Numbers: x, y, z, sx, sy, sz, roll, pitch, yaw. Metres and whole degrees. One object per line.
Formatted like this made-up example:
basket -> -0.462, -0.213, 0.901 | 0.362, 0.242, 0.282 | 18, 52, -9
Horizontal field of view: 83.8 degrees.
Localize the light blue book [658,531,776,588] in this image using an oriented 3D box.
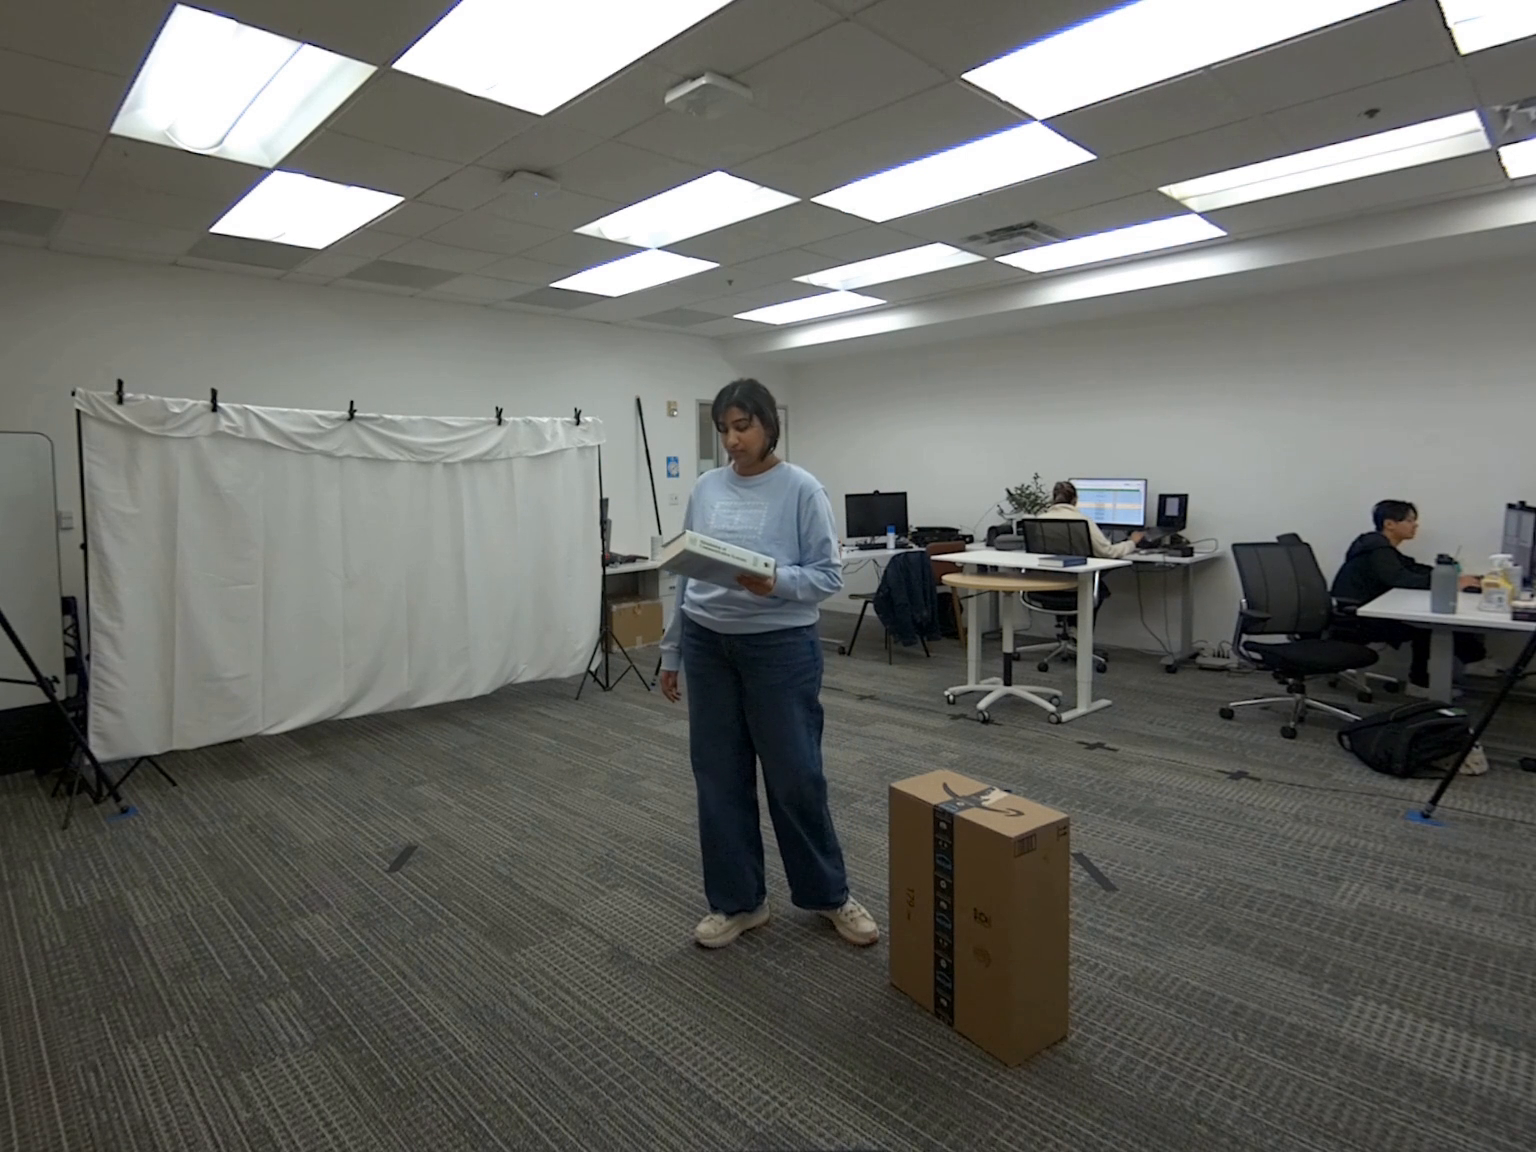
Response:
light blue book -> -0.141, -0.034, 2.298 | 0.254, 0.060, 0.193 | 18, -22, -24
